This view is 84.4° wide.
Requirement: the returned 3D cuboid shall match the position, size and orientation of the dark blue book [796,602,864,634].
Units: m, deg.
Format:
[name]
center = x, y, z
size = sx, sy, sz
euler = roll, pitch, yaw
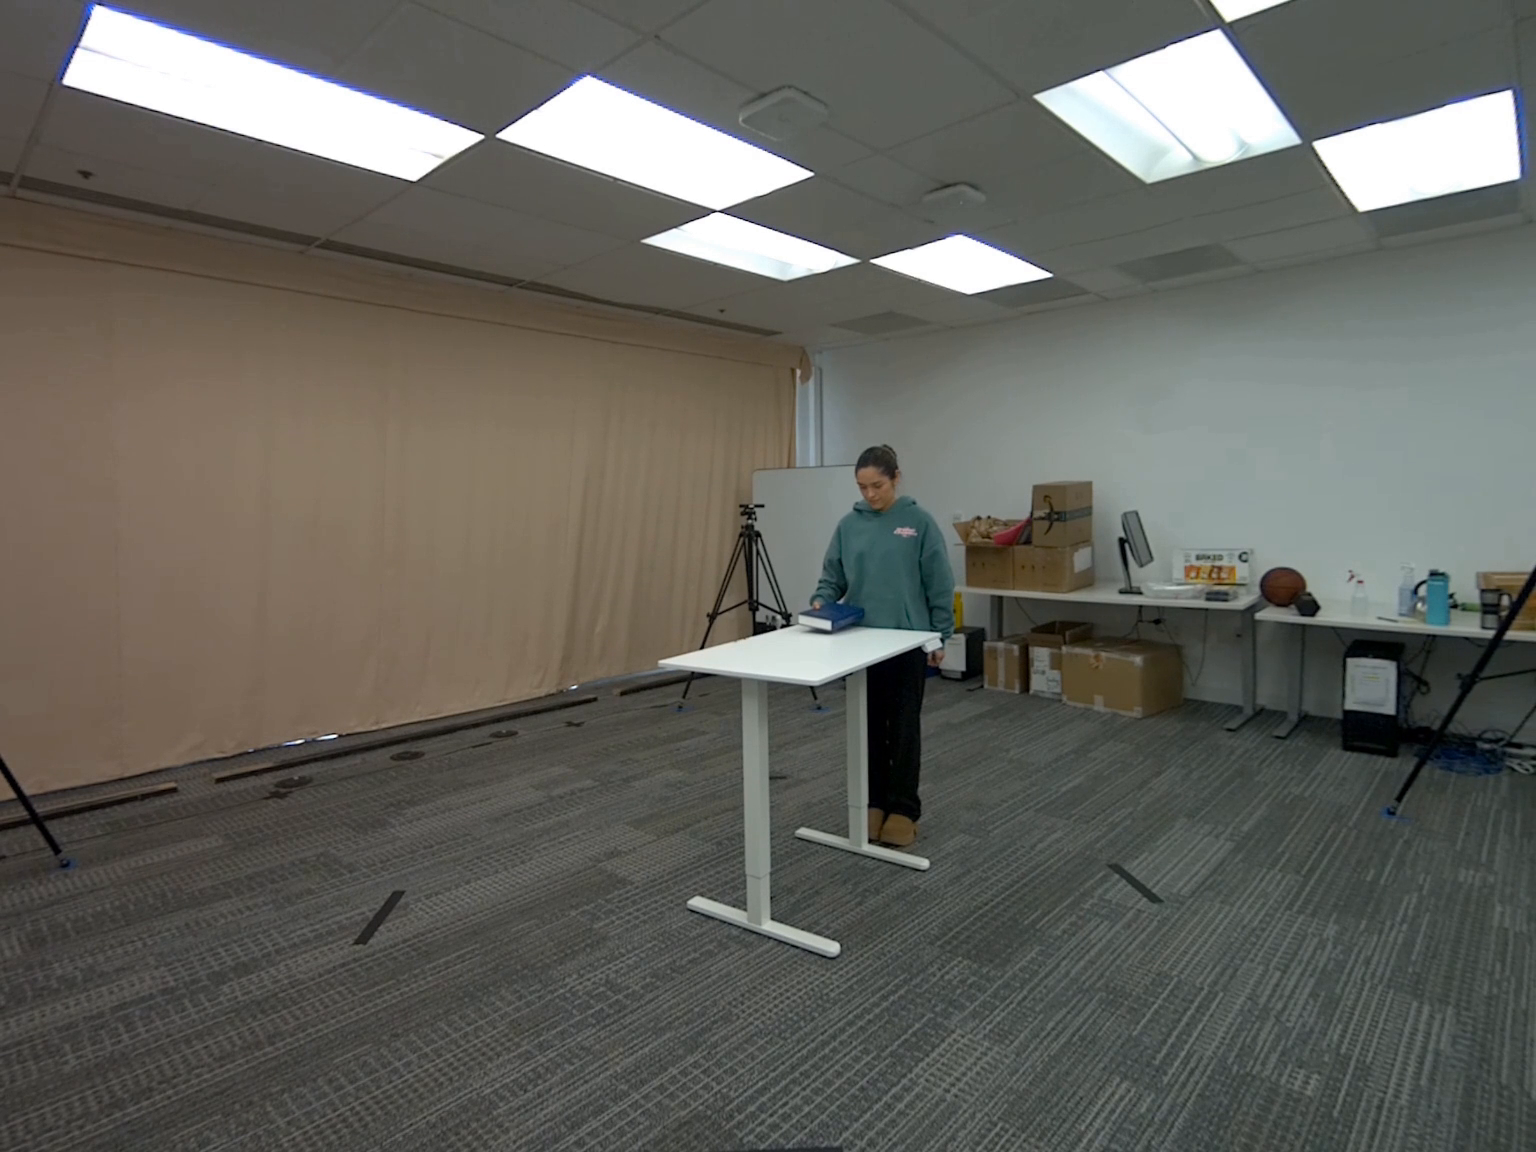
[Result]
[dark blue book]
center = 0.252, 0.167, 3.370
size = 0.169, 0.045, 0.238
euler = 9, 14, 38
